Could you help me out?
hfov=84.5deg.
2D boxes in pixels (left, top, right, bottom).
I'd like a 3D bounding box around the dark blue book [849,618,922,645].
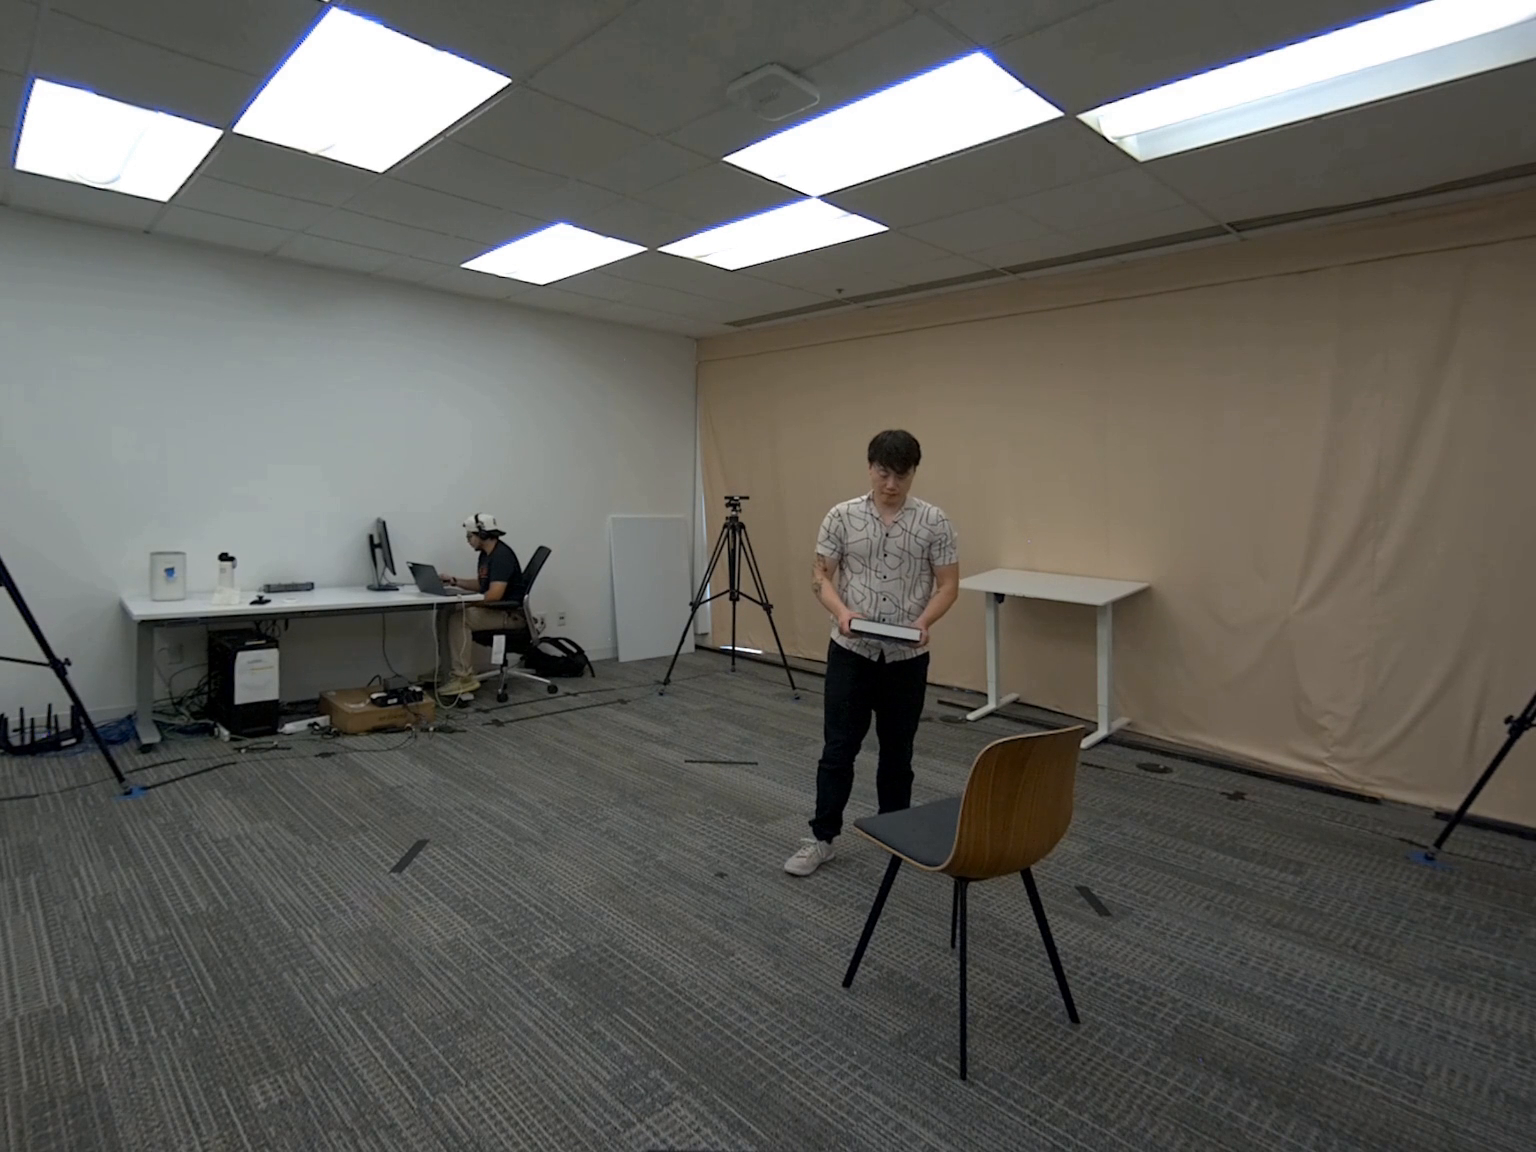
[{"bbox_3d":[0.383,0.197,2.991,0.247,0.045,0.161,11,-7,8],"label":"dark blue book"}]
